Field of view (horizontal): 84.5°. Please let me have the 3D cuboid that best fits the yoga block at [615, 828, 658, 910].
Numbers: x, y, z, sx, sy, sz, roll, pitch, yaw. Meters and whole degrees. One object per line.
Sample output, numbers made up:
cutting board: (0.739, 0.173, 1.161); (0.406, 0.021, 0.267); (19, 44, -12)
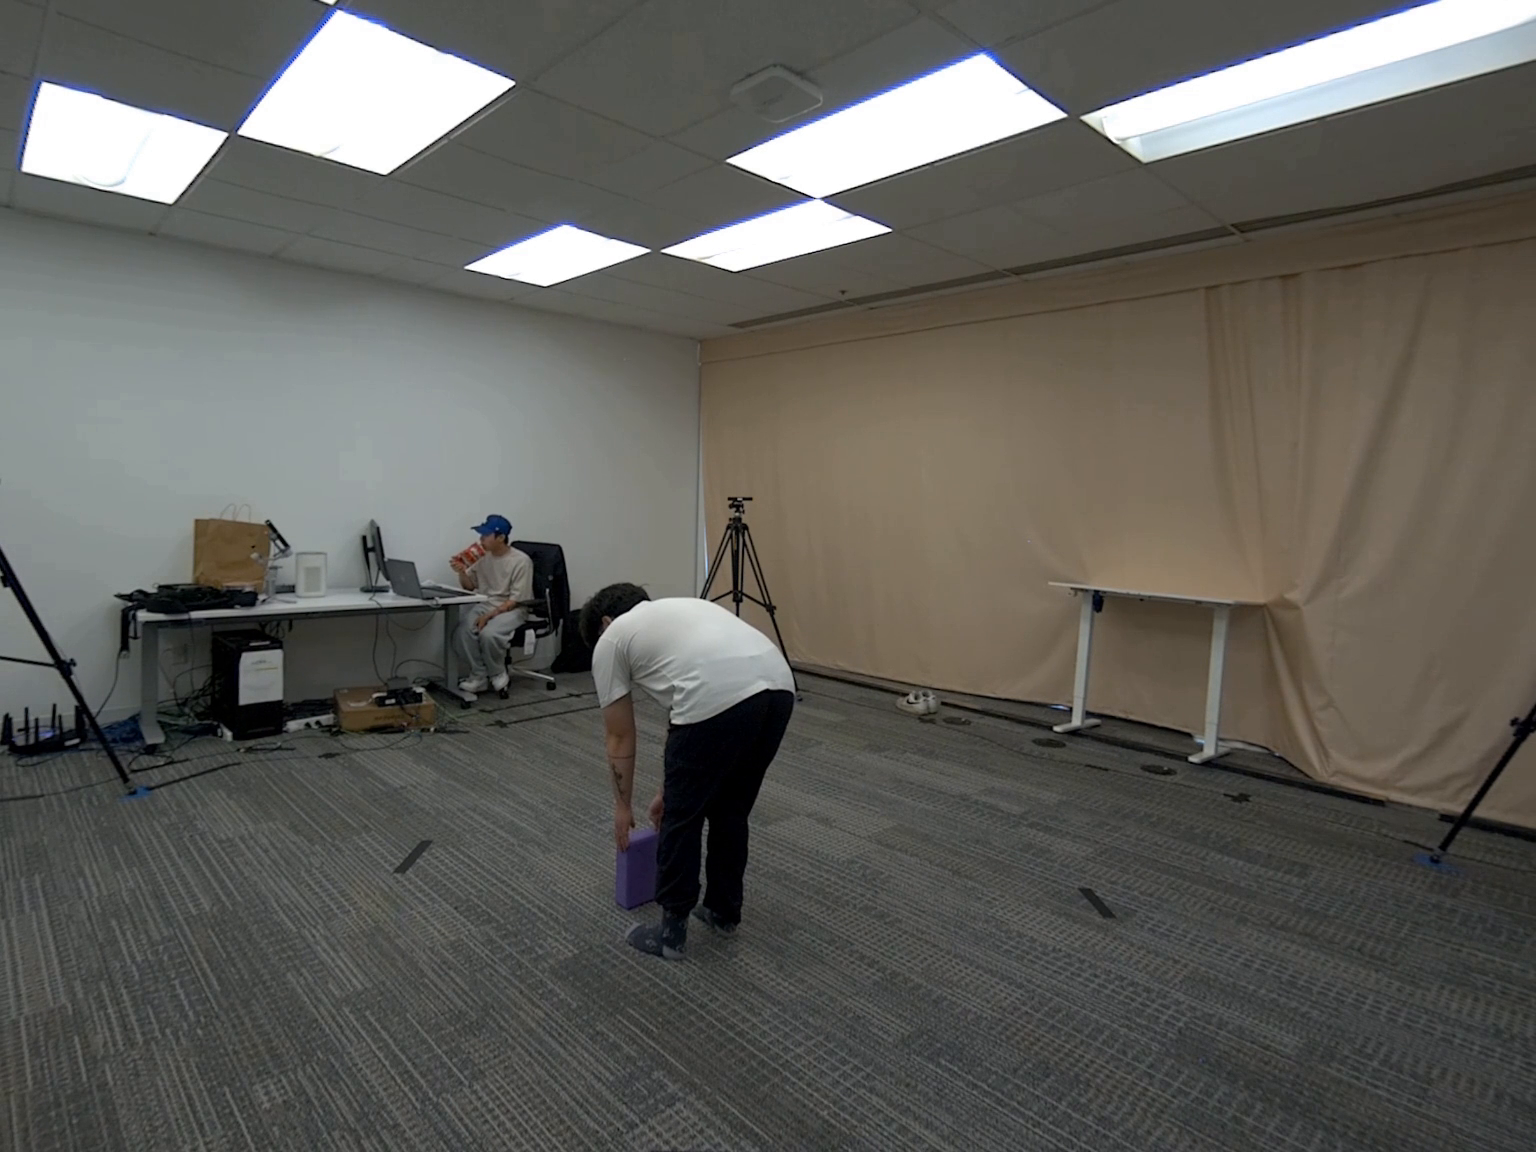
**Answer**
yoga block: (-0.452, 1.011, 2.888); (0.146, 0.228, 0.078); (-5, 9, -44)
